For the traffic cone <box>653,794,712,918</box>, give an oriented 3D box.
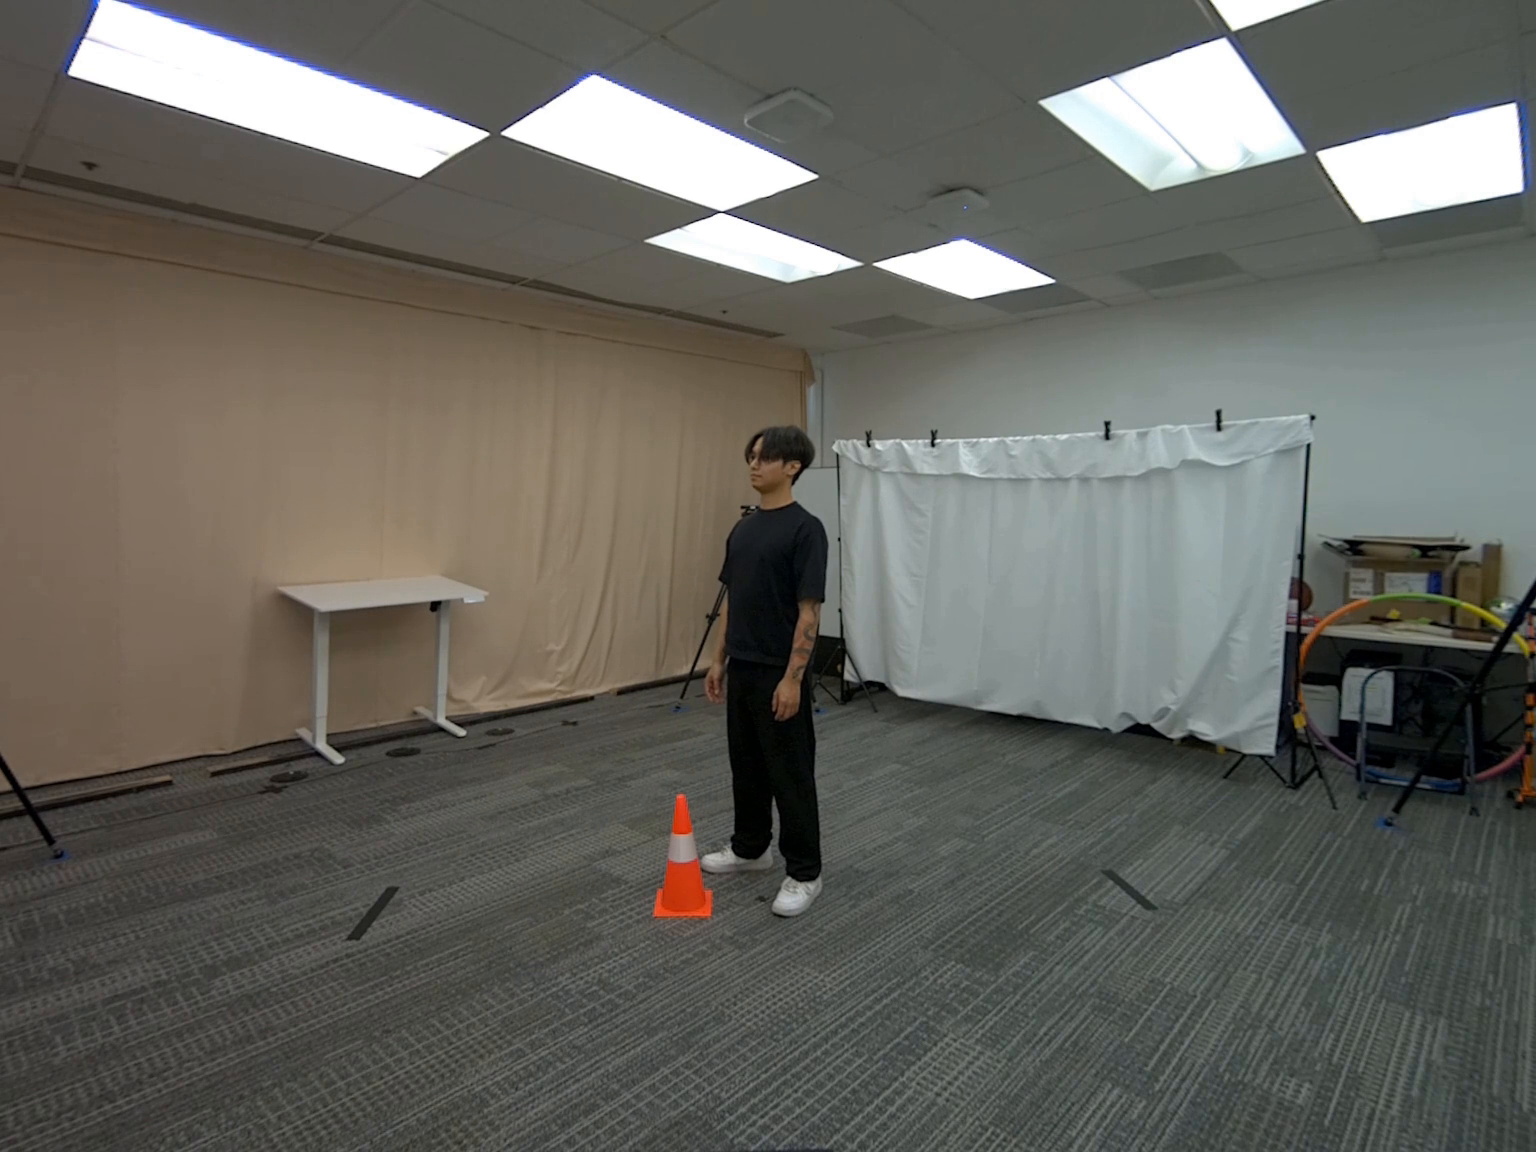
[{"bbox_3d":[-0.298,0.964,2.936,0.204,0.382,0.205,-2,6,1],"label":"traffic cone"}]
